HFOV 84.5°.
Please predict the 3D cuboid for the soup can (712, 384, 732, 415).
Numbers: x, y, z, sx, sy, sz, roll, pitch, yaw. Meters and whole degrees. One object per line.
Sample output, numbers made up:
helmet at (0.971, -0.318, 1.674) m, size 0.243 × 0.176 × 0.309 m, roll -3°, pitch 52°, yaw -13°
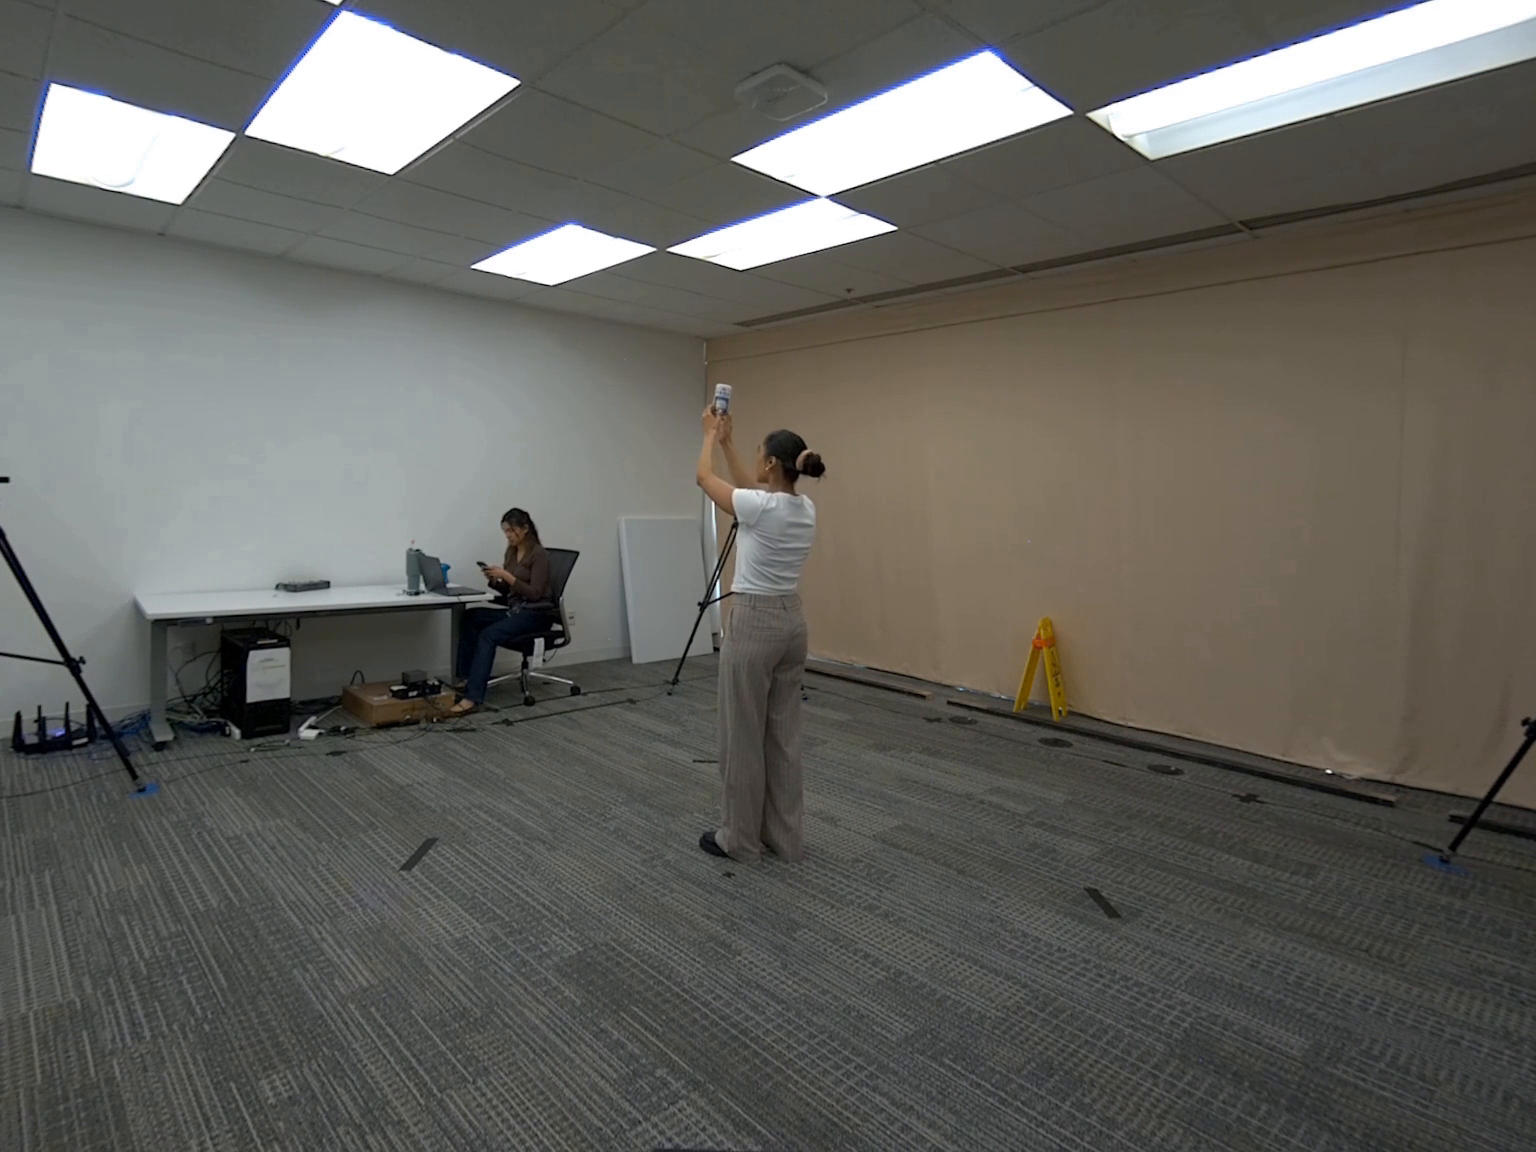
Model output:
soup can at (-0.200, -0.731, 3.481) m, size 0.067 × 0.121 × 0.067 m, roll 7°, pitch 2°, yaw -2°
